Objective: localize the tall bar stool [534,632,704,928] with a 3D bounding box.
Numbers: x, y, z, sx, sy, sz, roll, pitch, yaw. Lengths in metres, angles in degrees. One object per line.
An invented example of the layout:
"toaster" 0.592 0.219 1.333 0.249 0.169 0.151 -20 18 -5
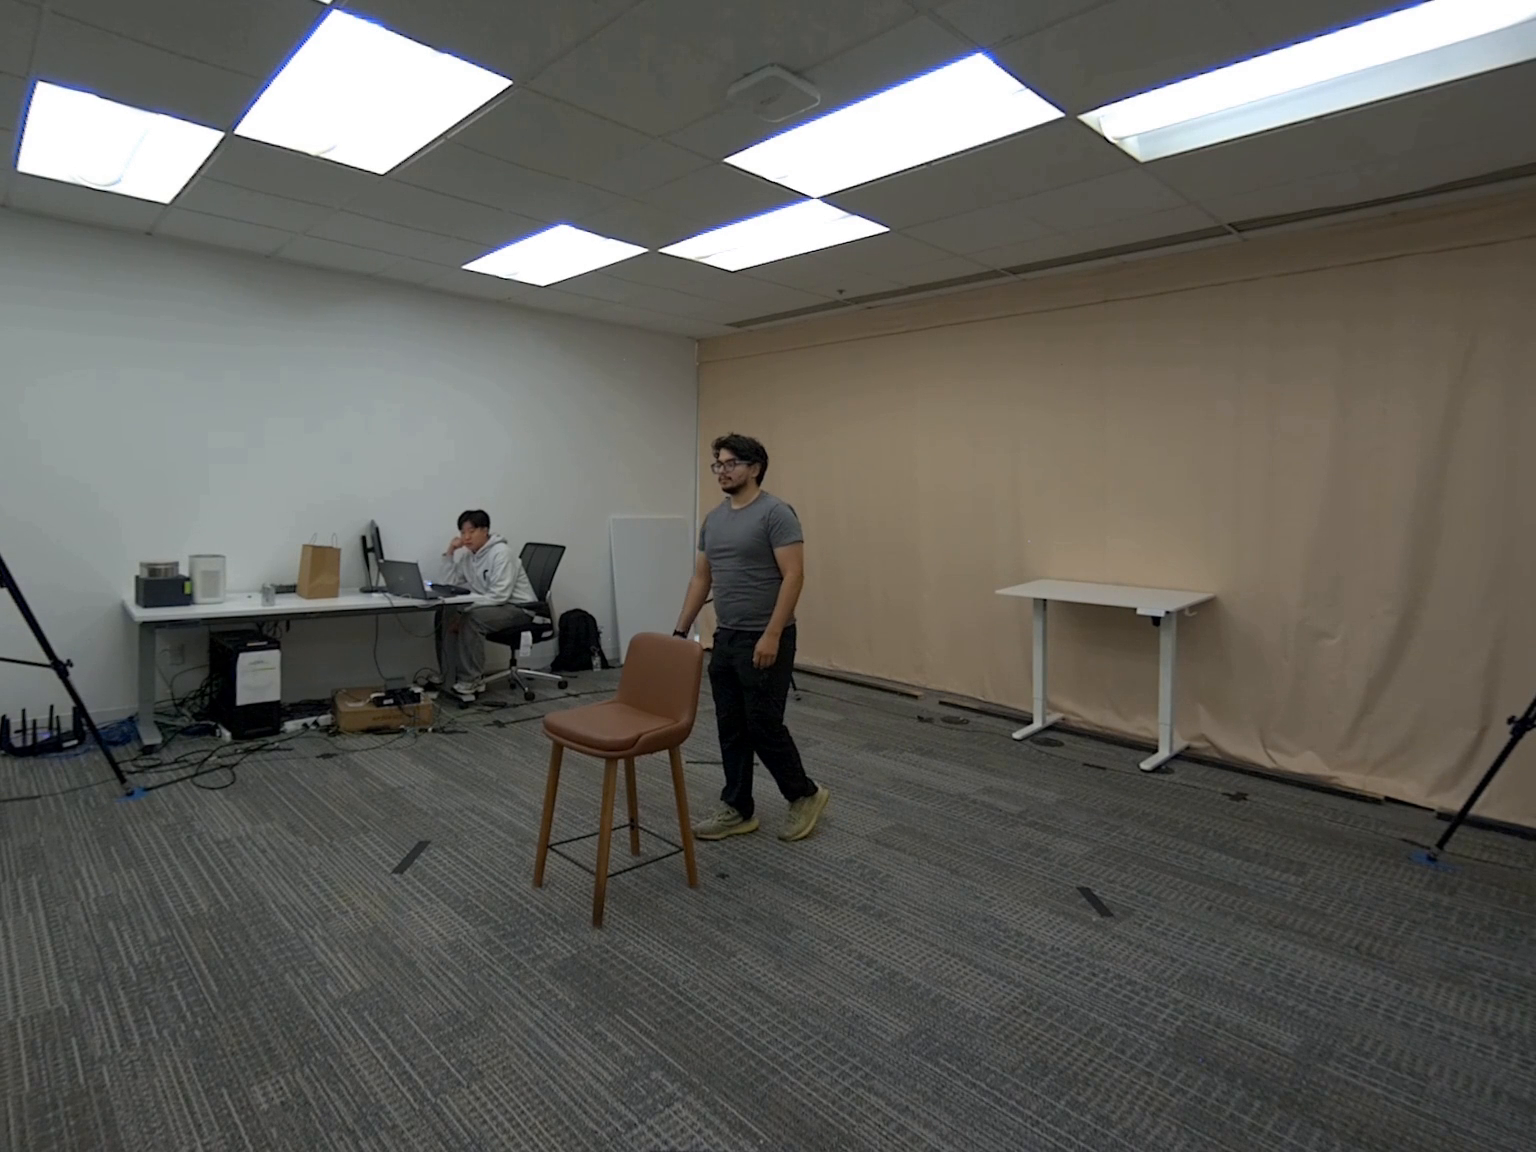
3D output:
"tall bar stool" -0.529 0.676 2.979 0.456 0.889 0.468 1 3 -44
